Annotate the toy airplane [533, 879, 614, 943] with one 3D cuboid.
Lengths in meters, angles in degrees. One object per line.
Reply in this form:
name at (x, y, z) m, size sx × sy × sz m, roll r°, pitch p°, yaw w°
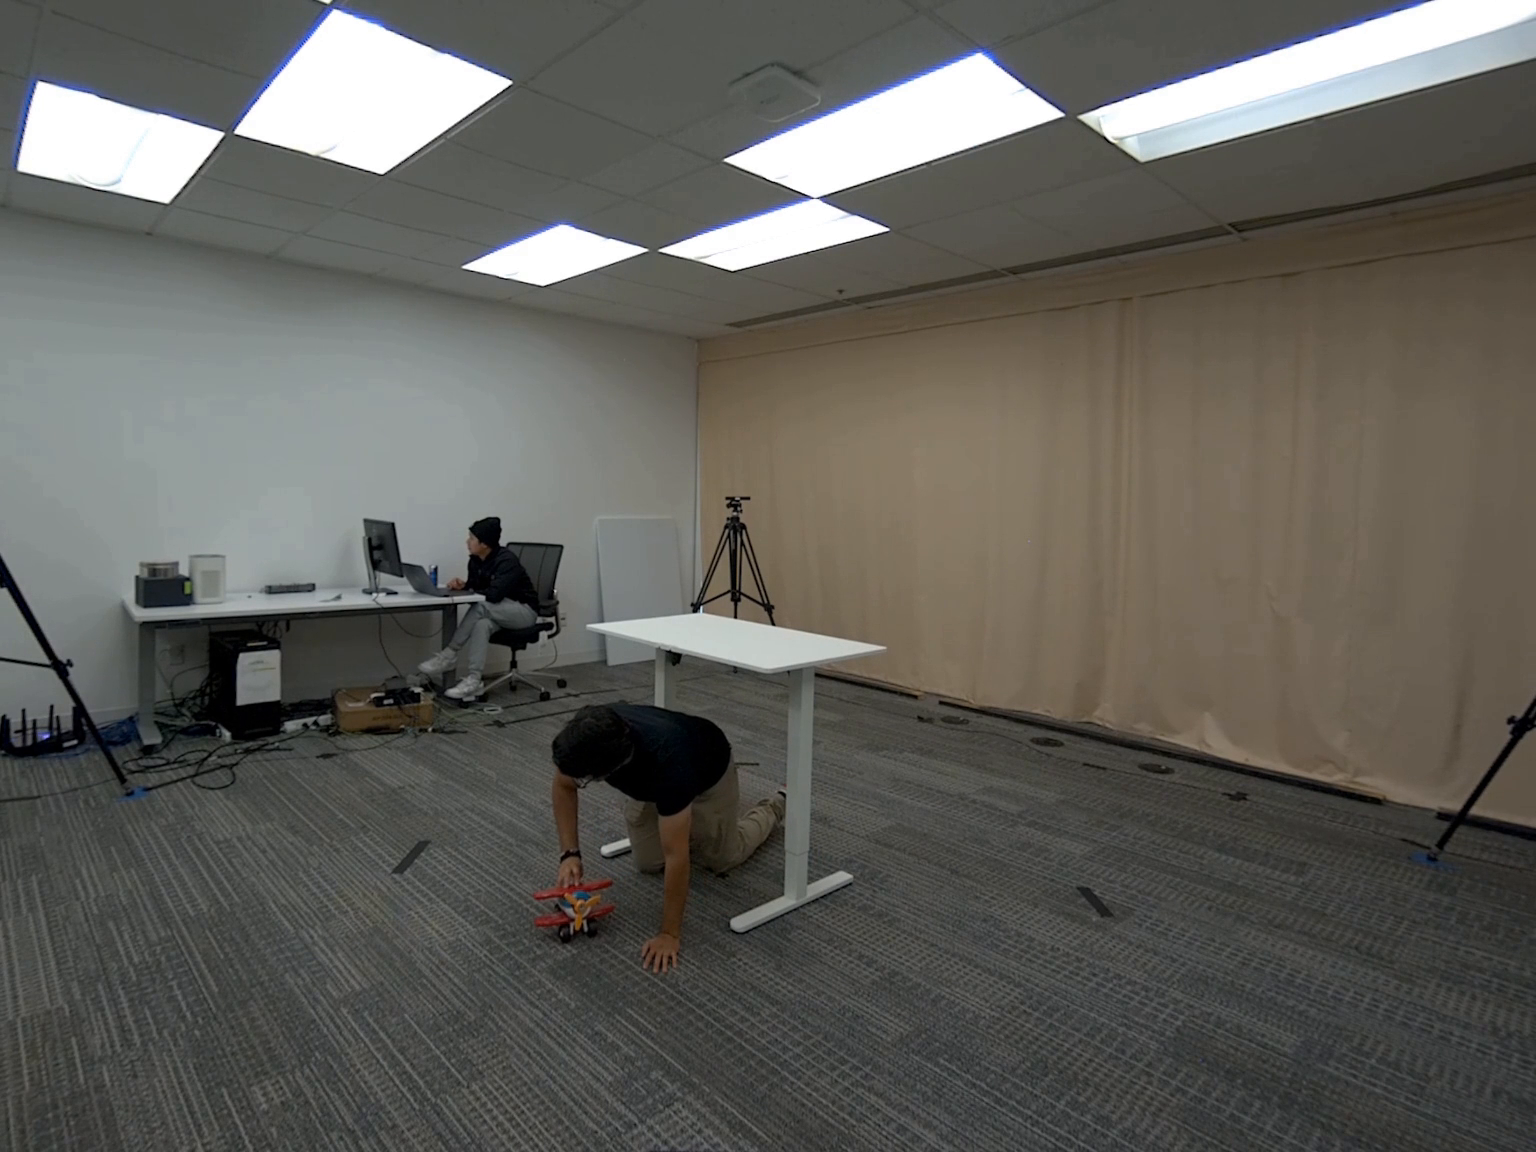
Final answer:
toy airplane at (-0.653, 1.061, 2.698) m, size 0.265 × 0.156 × 0.246 m, roll 5°, pitch 8°, yaw 36°
